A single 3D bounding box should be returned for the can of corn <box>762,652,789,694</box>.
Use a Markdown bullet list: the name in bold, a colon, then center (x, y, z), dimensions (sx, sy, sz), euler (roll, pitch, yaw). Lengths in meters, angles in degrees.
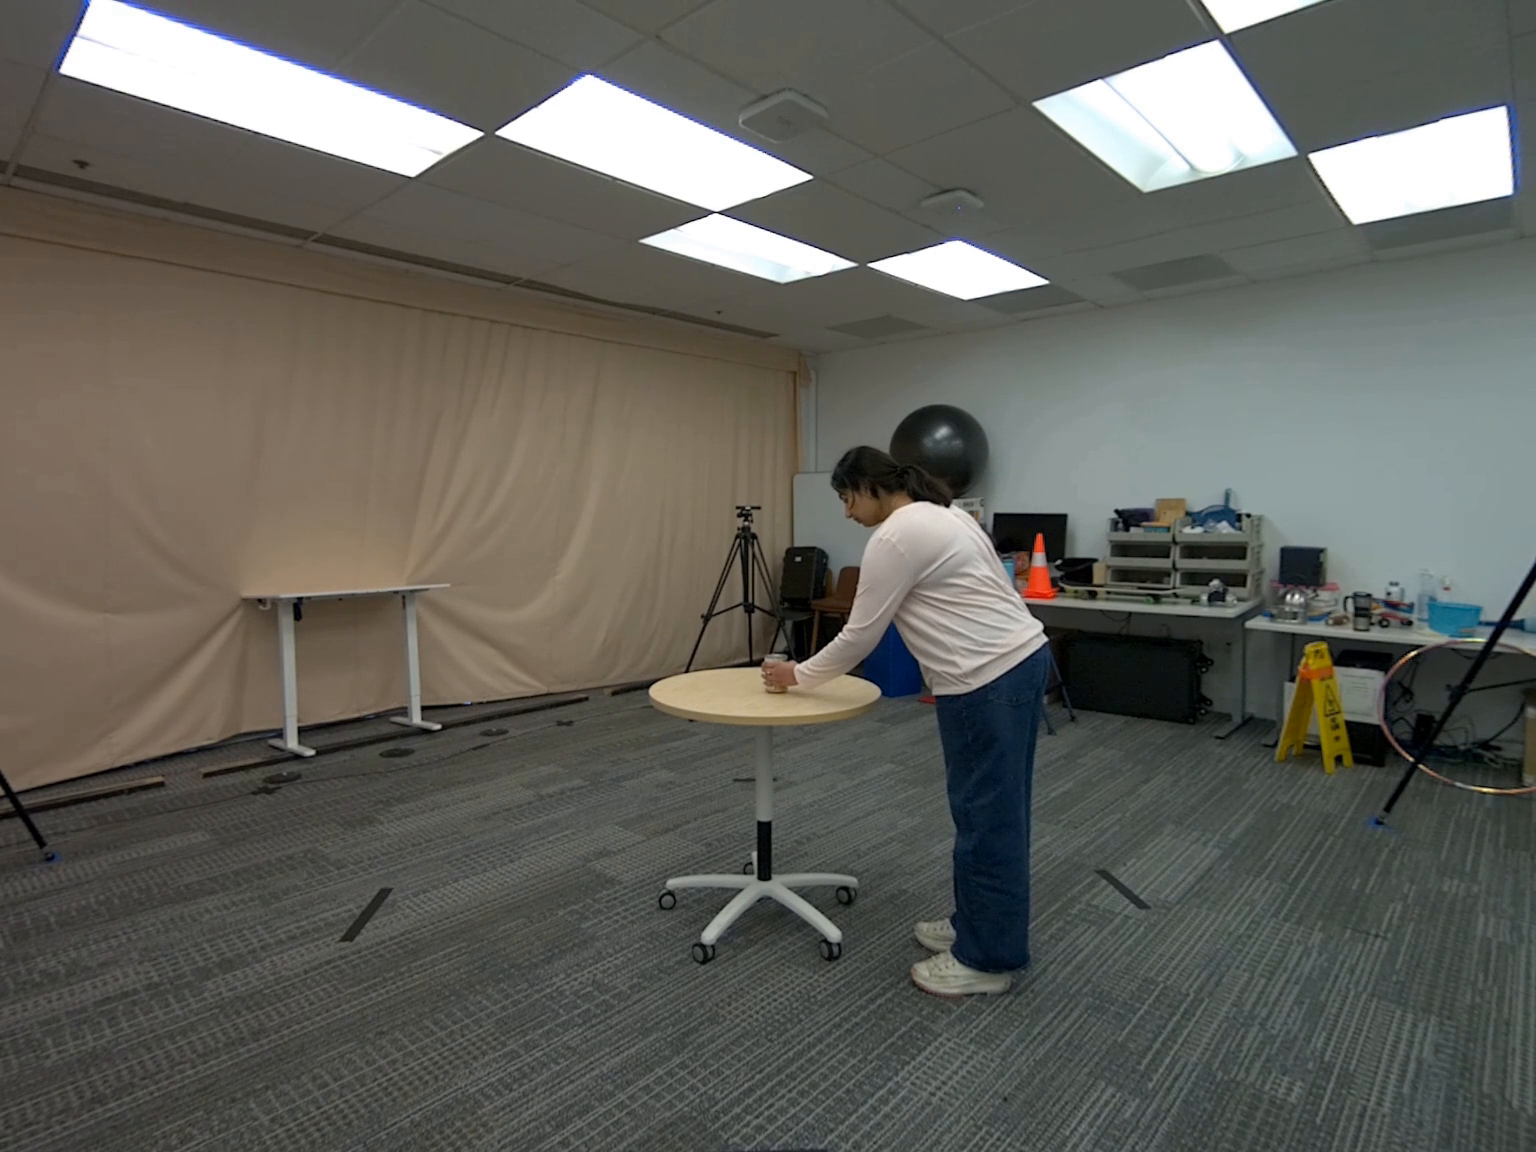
- **can of corn**: center (0.033, 0.317, 2.749), dimensions (0.074, 0.111, 0.074), euler (0, 2, -2)
